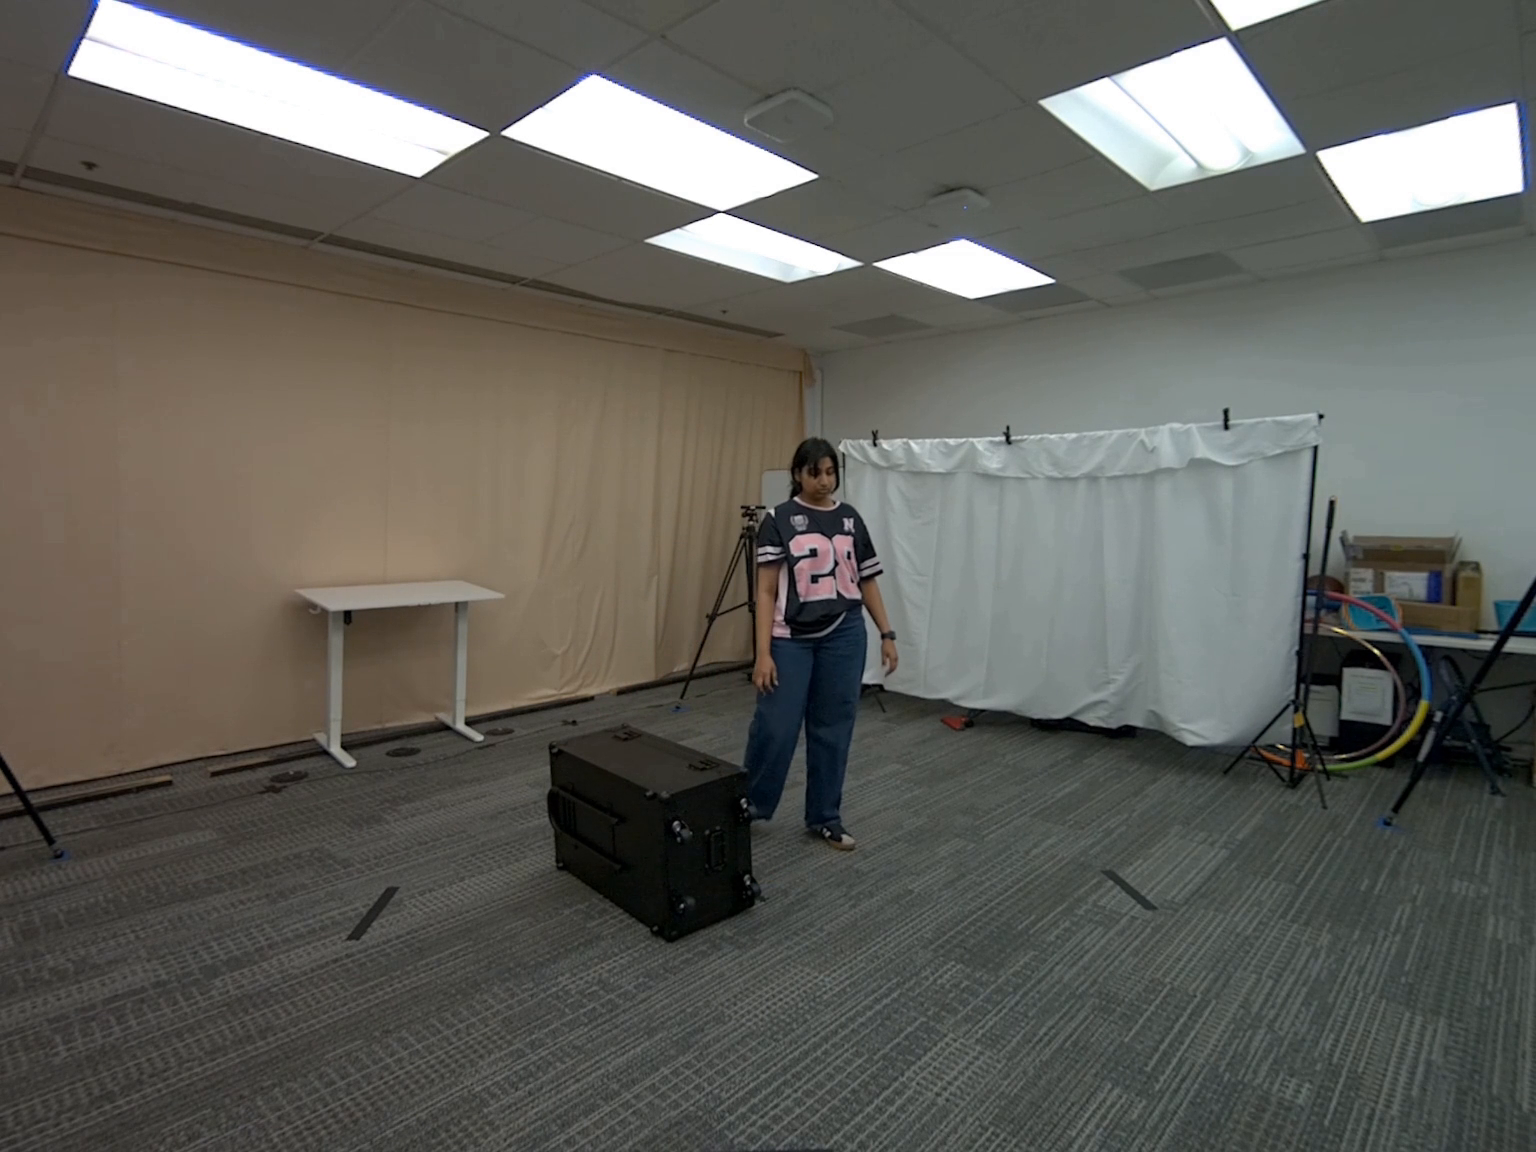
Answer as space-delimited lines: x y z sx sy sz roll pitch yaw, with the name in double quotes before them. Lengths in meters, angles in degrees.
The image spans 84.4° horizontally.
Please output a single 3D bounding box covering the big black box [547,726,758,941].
"big black box" -0.428 0.888 3.038 0.374 0.522 0.897 -4 5 -40
